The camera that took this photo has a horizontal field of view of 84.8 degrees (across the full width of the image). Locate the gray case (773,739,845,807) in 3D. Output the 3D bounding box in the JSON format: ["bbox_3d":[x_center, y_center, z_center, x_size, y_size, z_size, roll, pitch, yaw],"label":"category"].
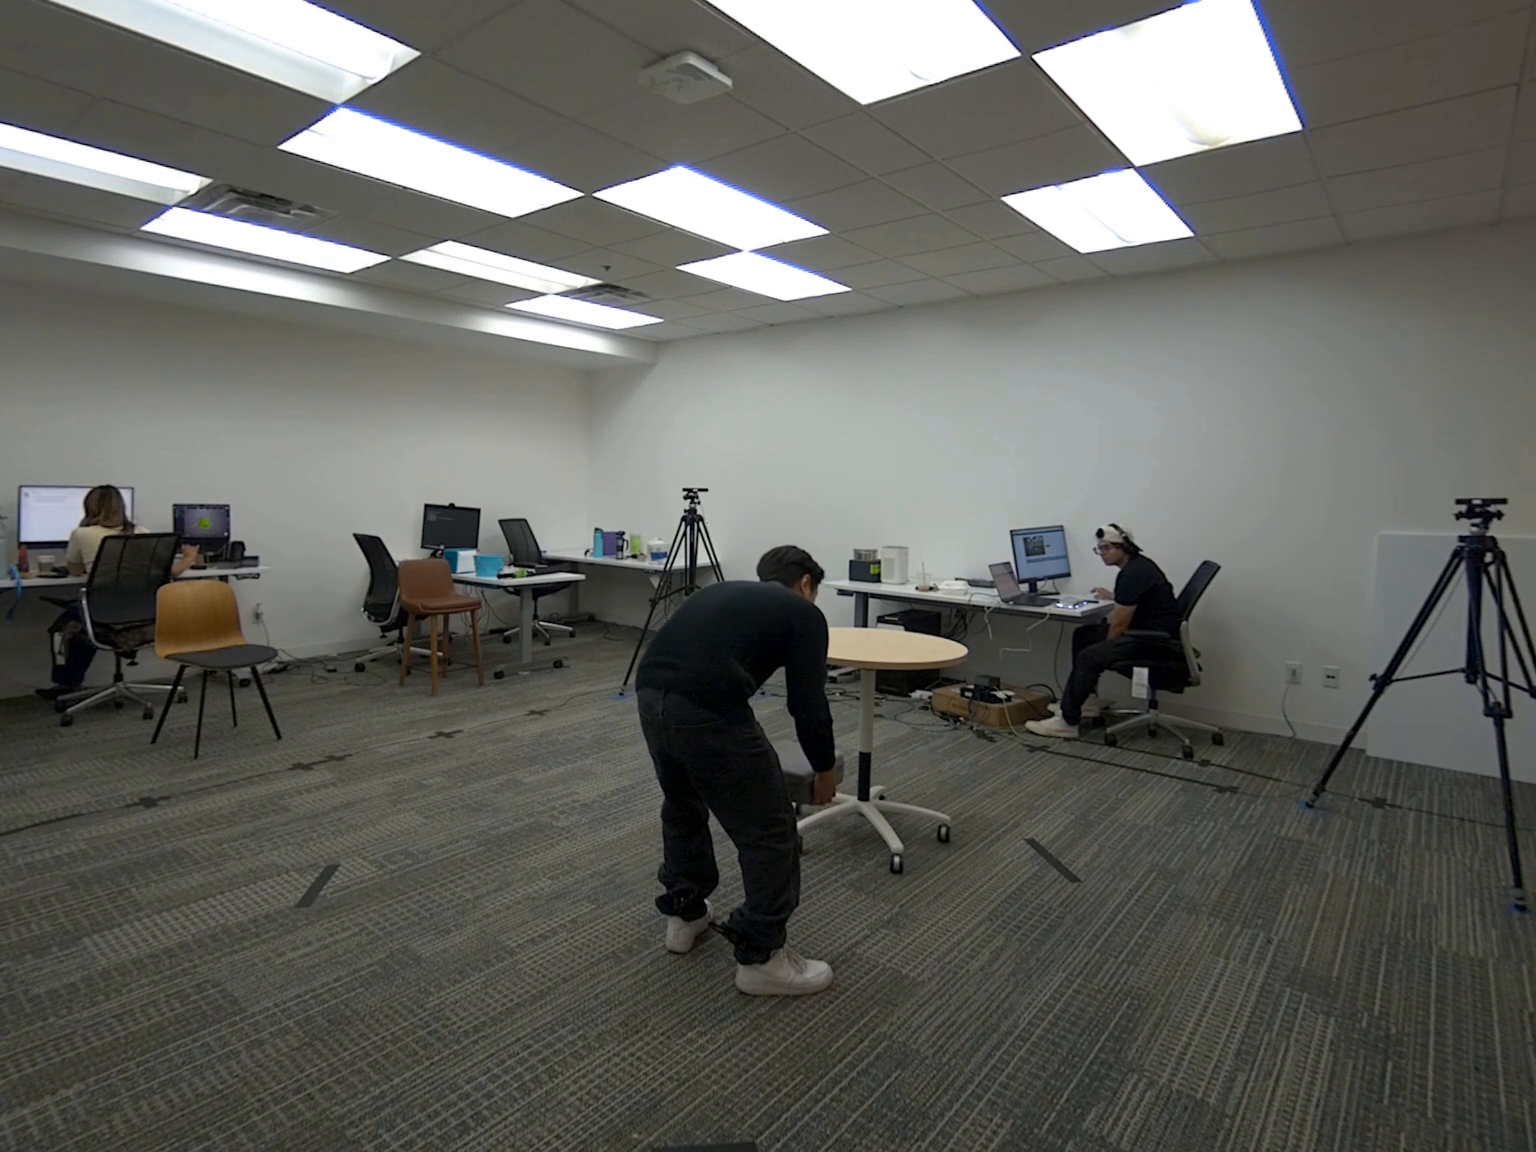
[{"bbox_3d":[0.069,0.616,2.701,0.265,0.103,0.254,6,10,36],"label":"gray case"}]
